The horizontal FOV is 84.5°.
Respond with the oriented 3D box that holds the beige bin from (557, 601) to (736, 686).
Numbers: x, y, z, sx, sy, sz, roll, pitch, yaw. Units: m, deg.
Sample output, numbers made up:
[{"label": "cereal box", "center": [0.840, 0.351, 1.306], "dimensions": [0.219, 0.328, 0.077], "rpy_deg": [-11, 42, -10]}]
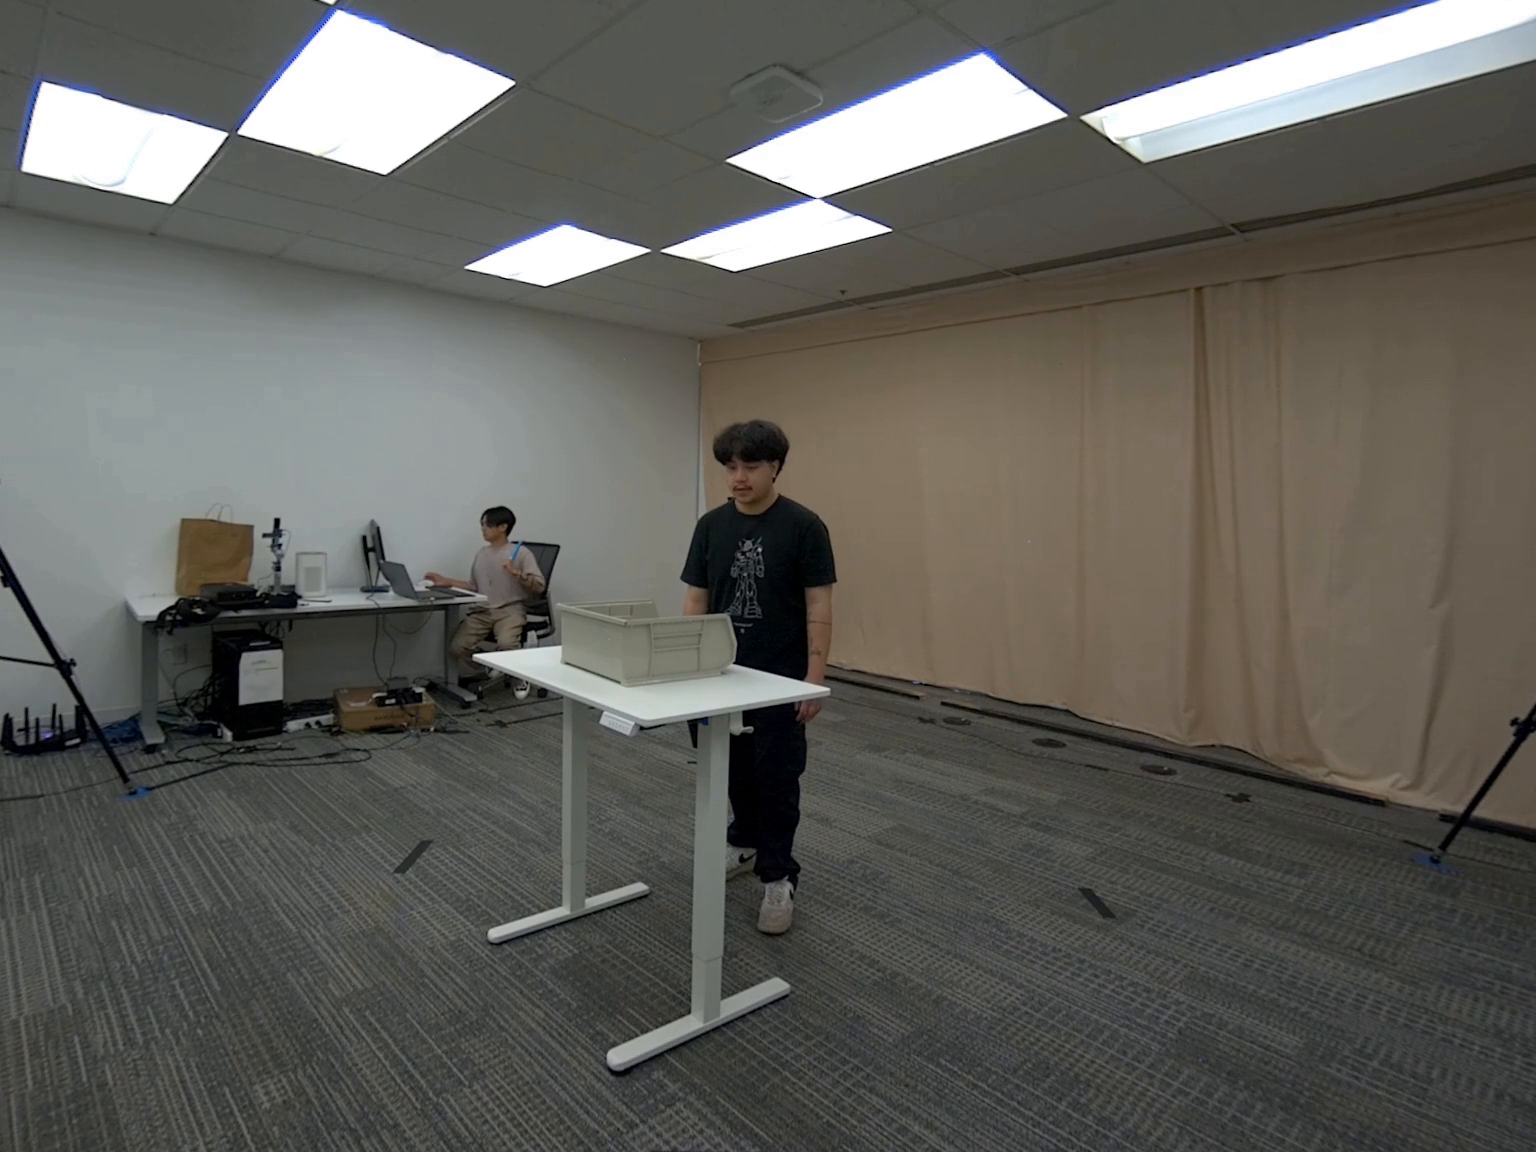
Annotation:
[{"label": "beige bin", "center": [-0.376, 0.190, 2.494], "dimensions": [0.369, 0.188, 0.433], "rpy_deg": [-3, 6, -37]}]
